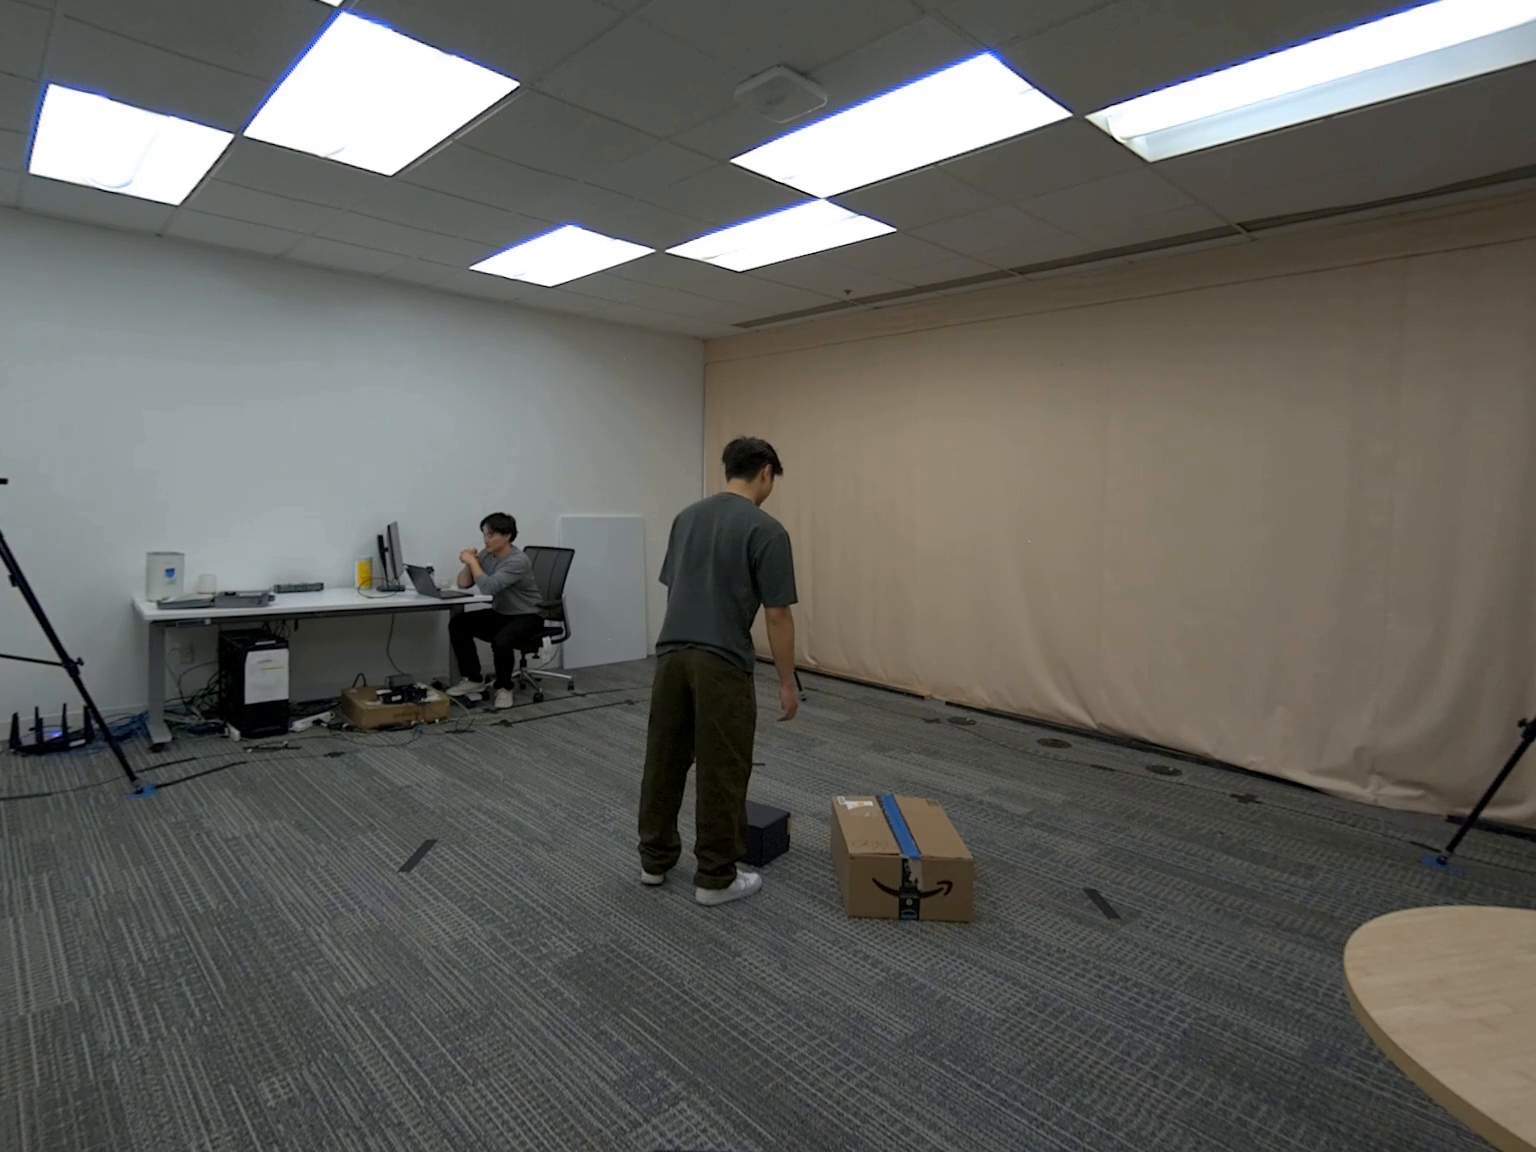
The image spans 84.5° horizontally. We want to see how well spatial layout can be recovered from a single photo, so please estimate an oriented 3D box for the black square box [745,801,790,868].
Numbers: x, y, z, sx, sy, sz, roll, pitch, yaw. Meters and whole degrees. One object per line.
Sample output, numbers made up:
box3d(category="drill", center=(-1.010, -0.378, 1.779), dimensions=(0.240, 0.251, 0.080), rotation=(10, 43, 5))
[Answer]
box3d(category="black square box", center=(-0.069, 1.004, 3.314), dimensions=(0.233, 0.155, 0.212), rotation=(4, 4, 33))
